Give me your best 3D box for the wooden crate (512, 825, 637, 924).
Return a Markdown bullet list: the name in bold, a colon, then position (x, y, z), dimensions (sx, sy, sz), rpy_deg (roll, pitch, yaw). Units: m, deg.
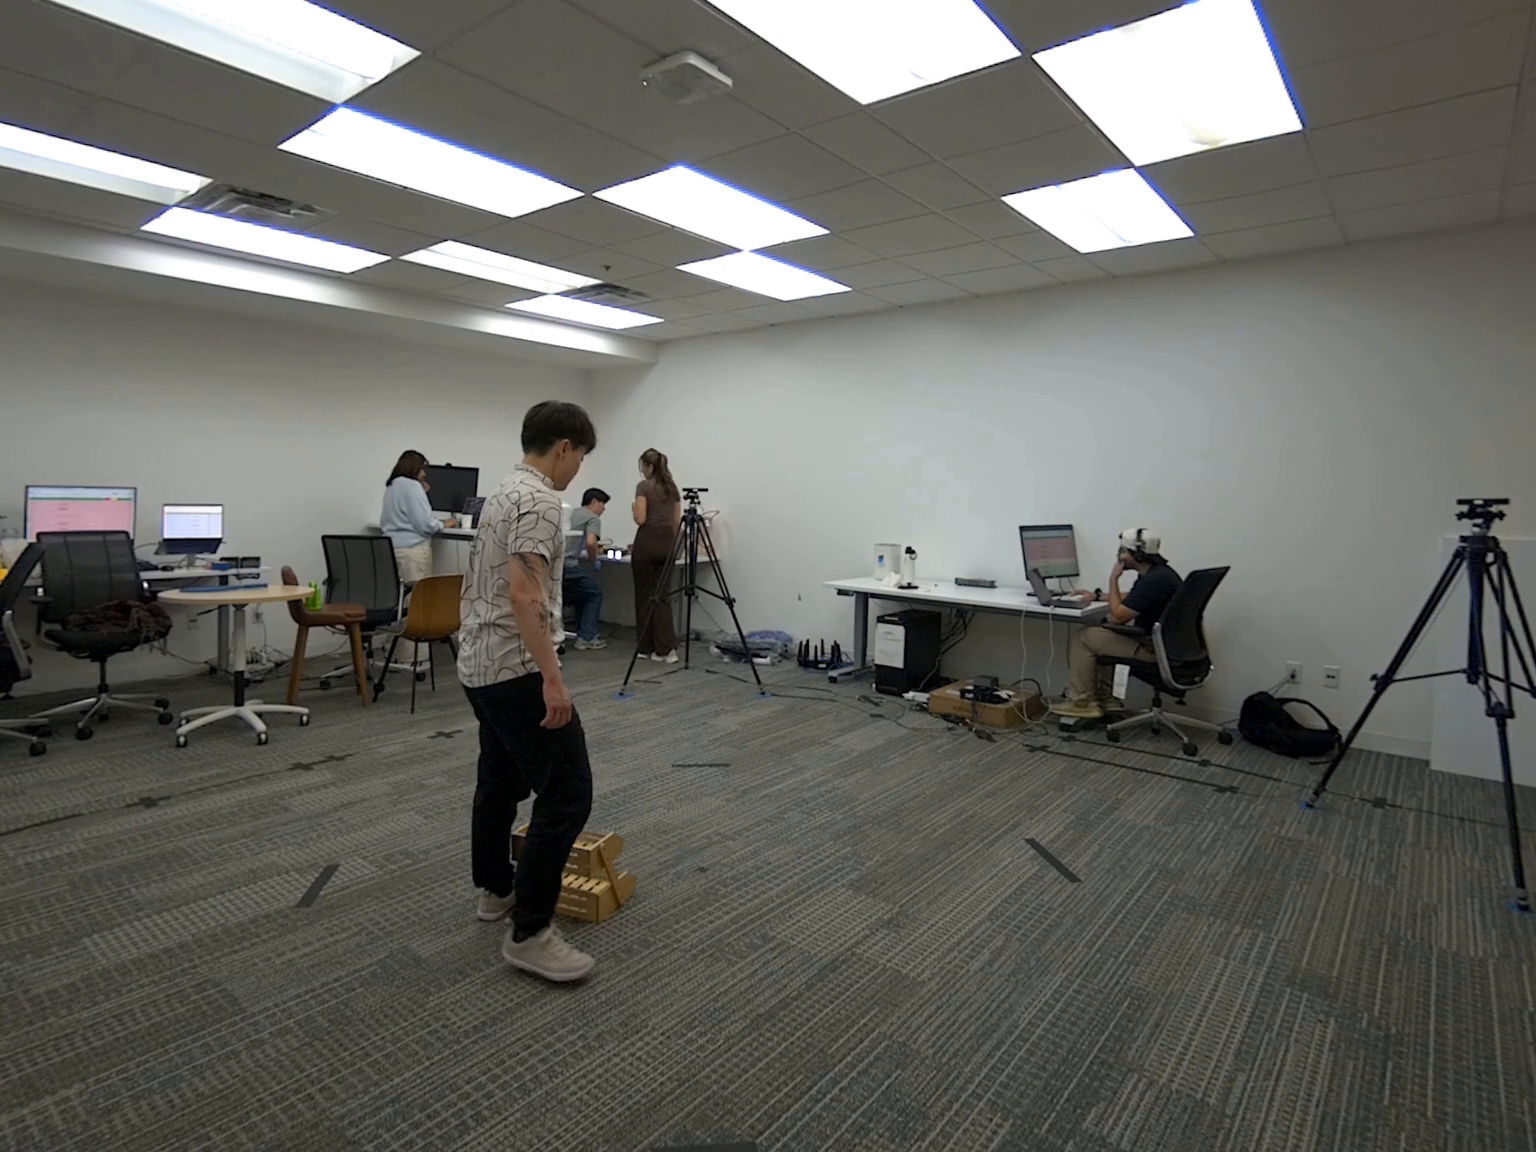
- **wooden crate**: position (-0.652, 0.954, 2.847), dimensions (0.332, 0.272, 0.296), rpy_deg (2, 6, 22)
